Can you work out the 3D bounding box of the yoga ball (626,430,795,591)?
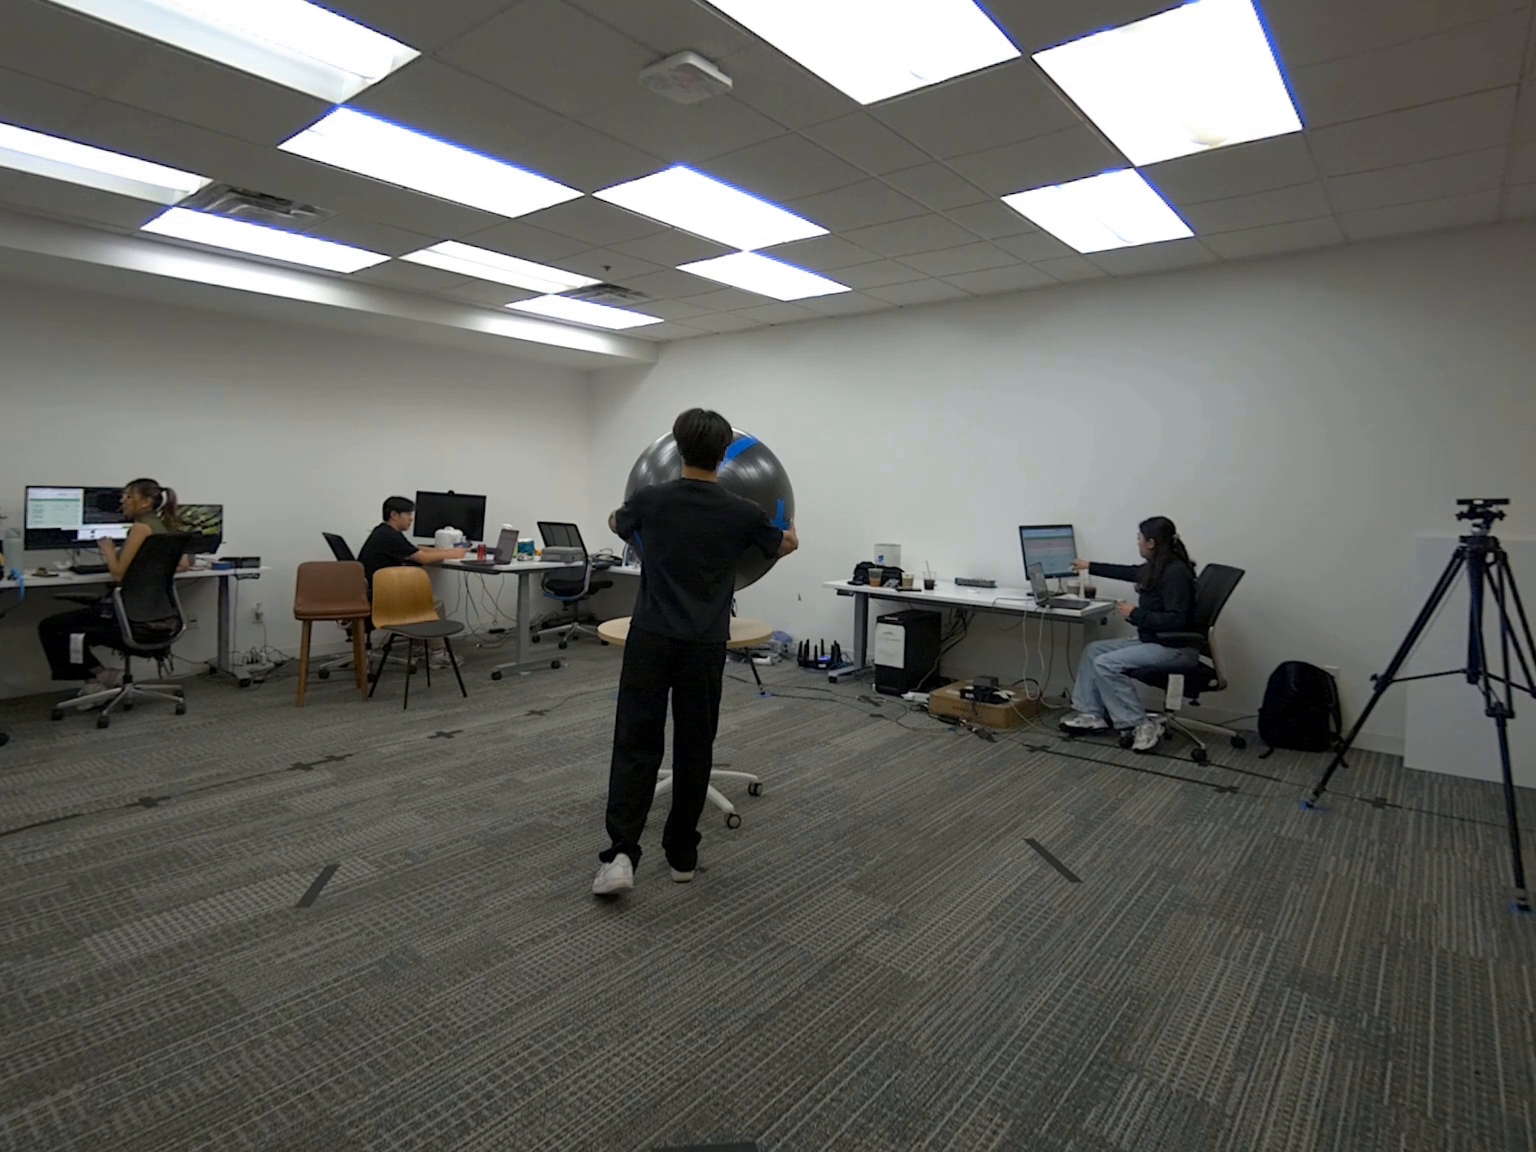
[{"bbox_3d":[-0.273,-0.298,3.776,0.757,0.755,0.762,1,4,-2],"label":"yoga ball"}]
